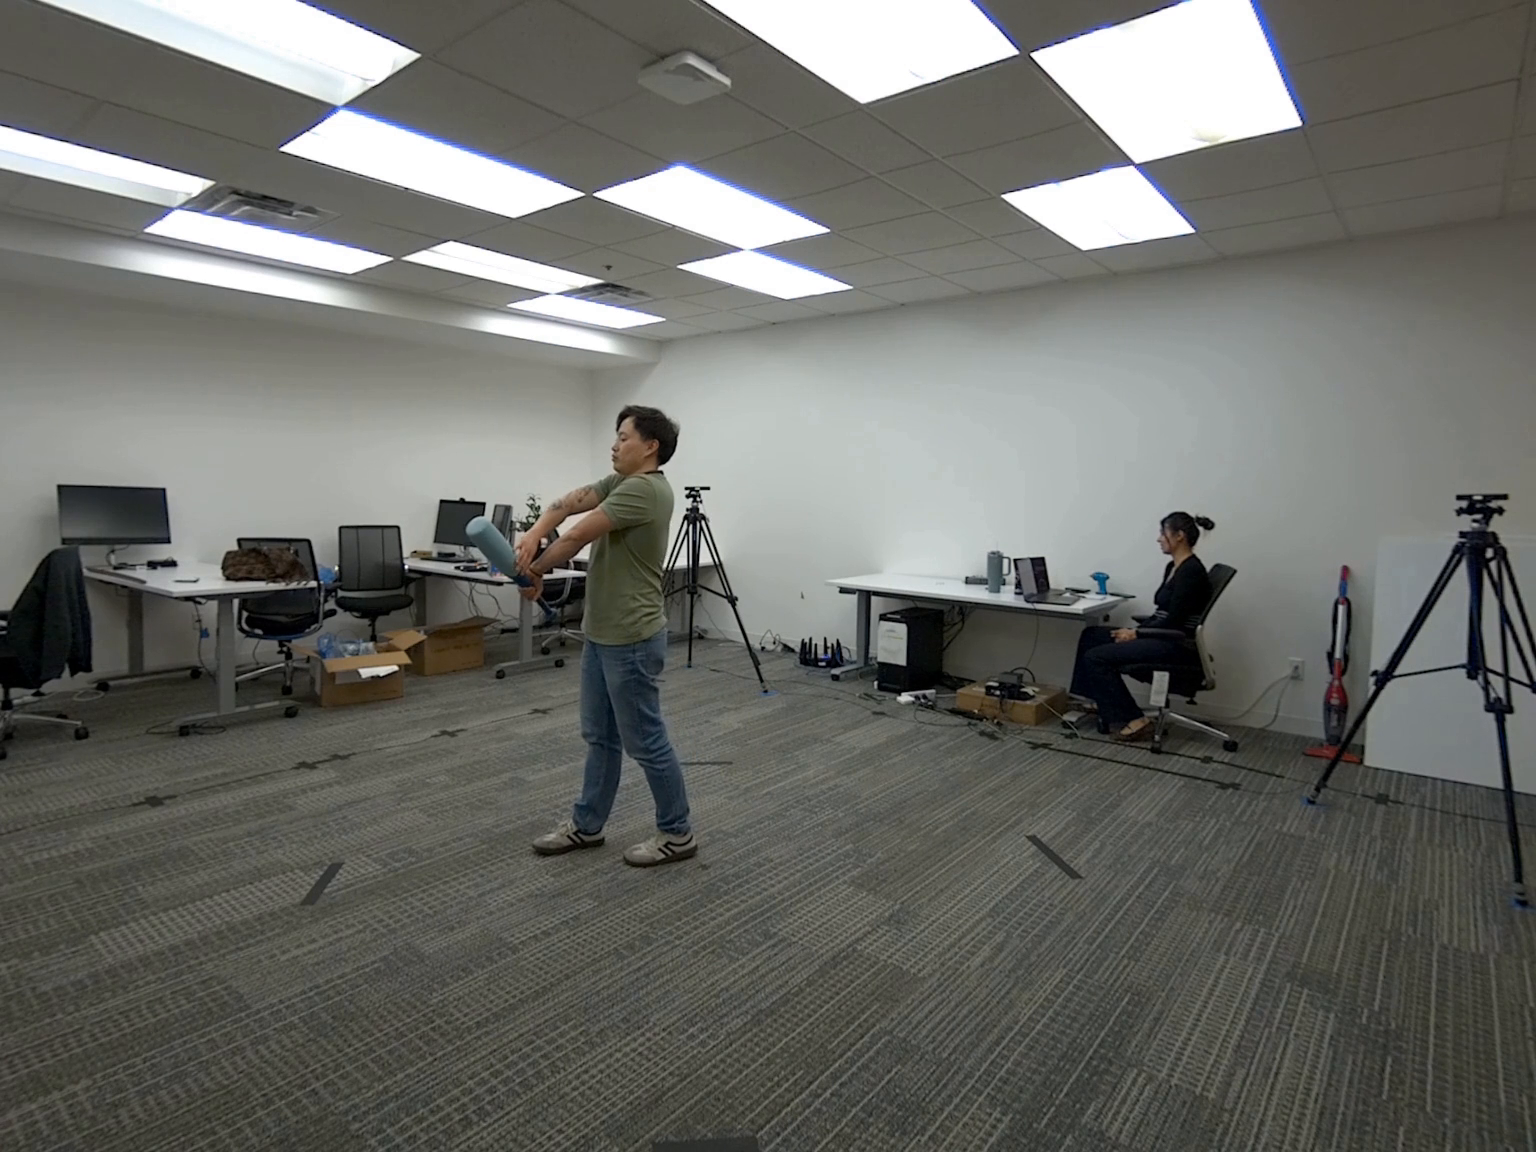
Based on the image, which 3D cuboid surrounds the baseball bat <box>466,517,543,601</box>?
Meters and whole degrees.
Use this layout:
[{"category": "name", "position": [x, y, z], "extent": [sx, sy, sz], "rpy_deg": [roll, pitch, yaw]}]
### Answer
[{"category": "baseball bat", "position": [-0.895, -0.012, 2.993], "extent": [0.092, 0.090, 0.521], "rpy_deg": [3, -37, 30]}]
